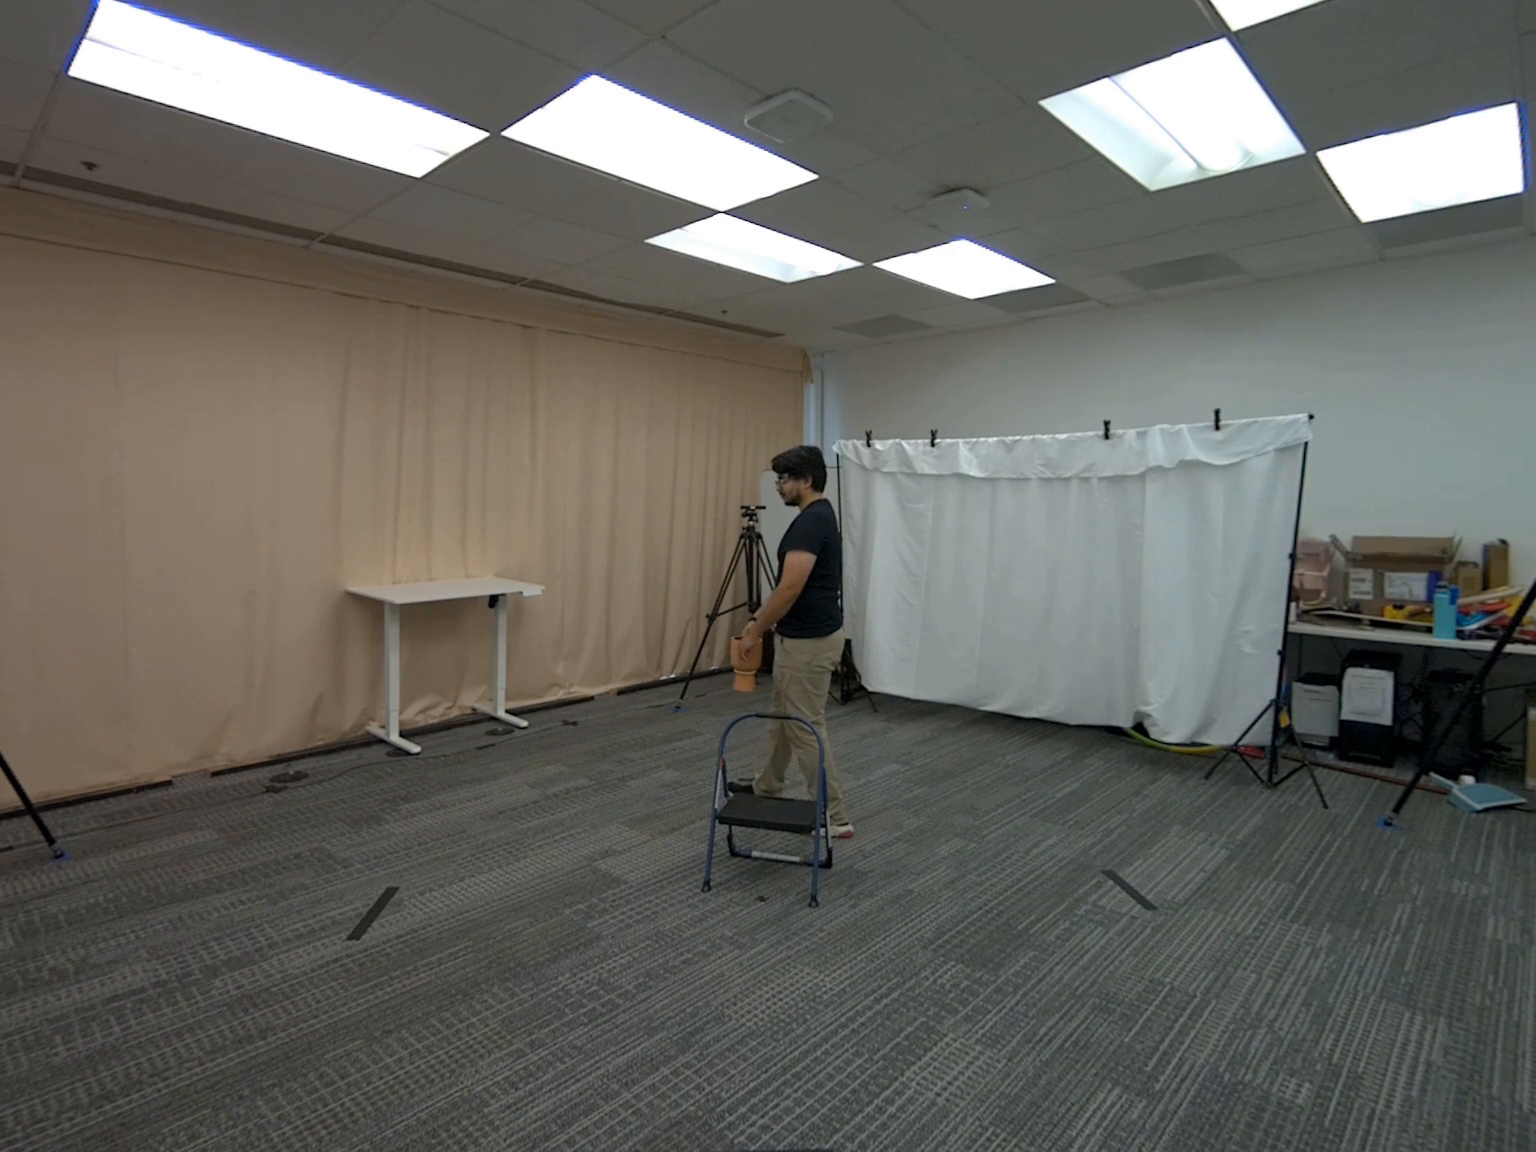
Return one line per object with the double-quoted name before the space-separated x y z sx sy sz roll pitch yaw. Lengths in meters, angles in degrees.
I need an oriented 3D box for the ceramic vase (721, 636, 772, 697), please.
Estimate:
"ceramic vase" -0.094 0.378 3.612 0.139 0.219 0.154 5 4 36
